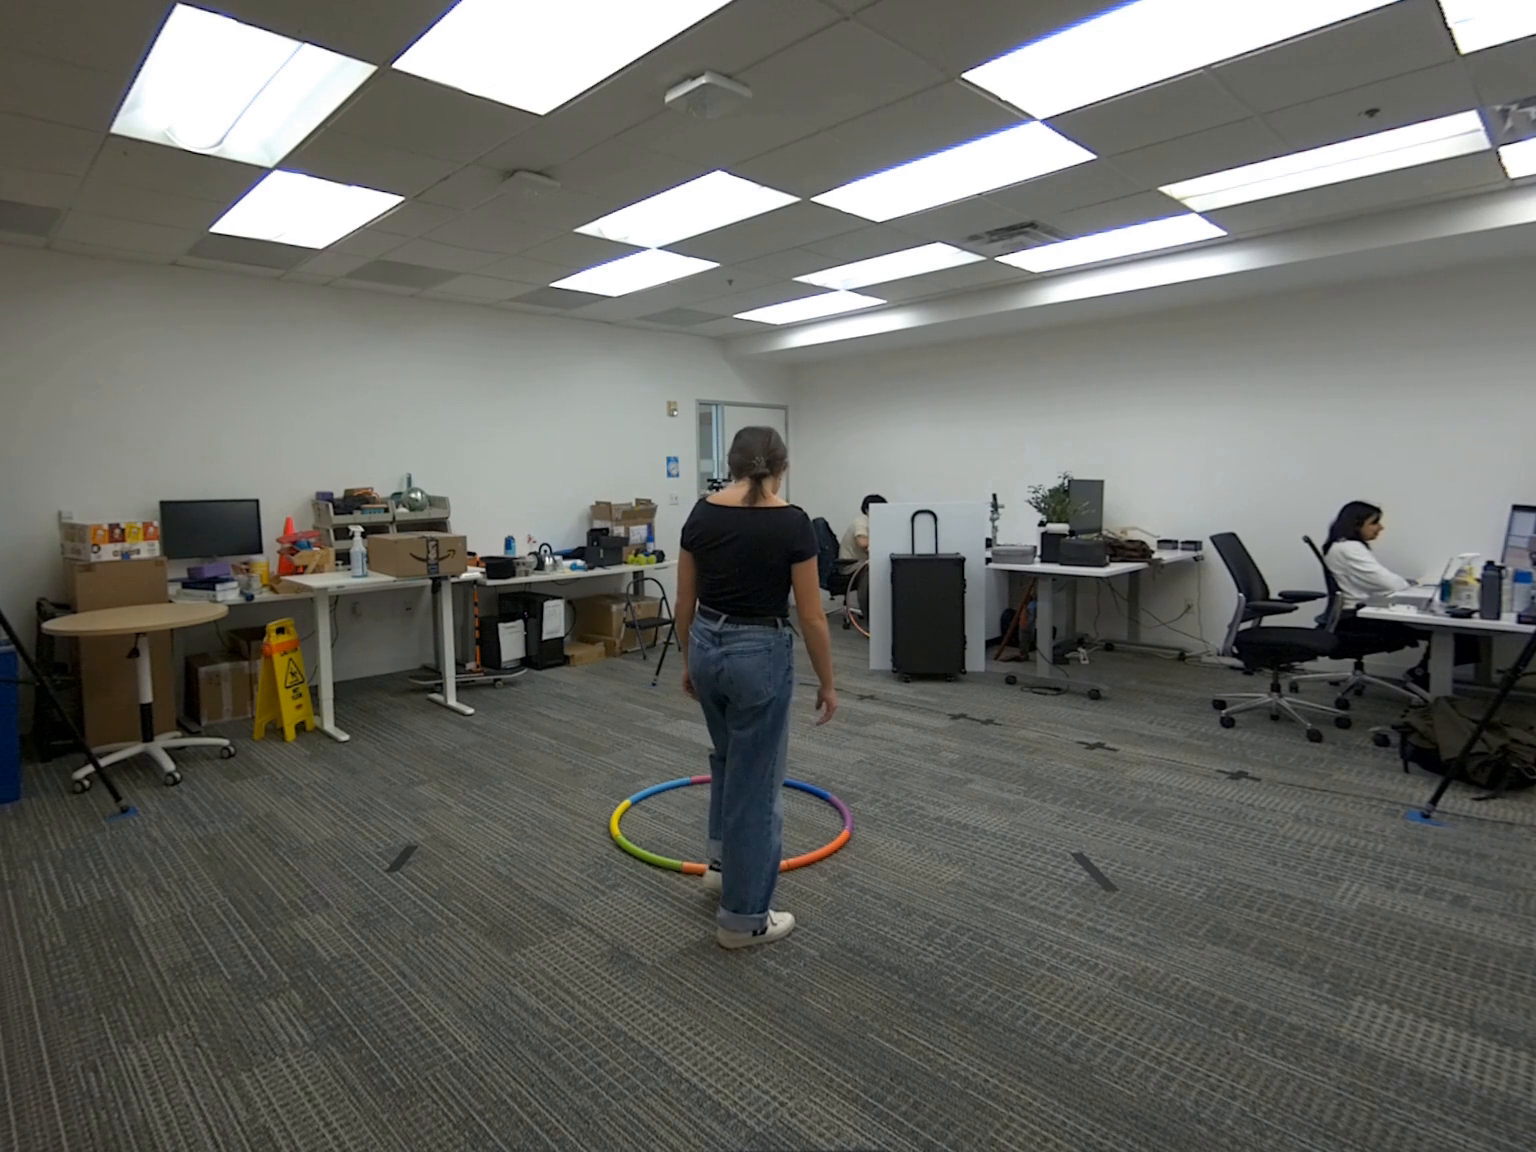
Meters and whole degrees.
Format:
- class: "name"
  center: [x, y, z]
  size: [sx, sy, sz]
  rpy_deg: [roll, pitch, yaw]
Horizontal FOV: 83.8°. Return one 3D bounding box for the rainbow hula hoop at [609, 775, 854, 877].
- class: "rainbow hula hoop"
  center: [-0.153, 0.974, 3.488]
  size: [0.978, 0.035, 0.984]
  rpy_deg: [-1, 7, -2]
